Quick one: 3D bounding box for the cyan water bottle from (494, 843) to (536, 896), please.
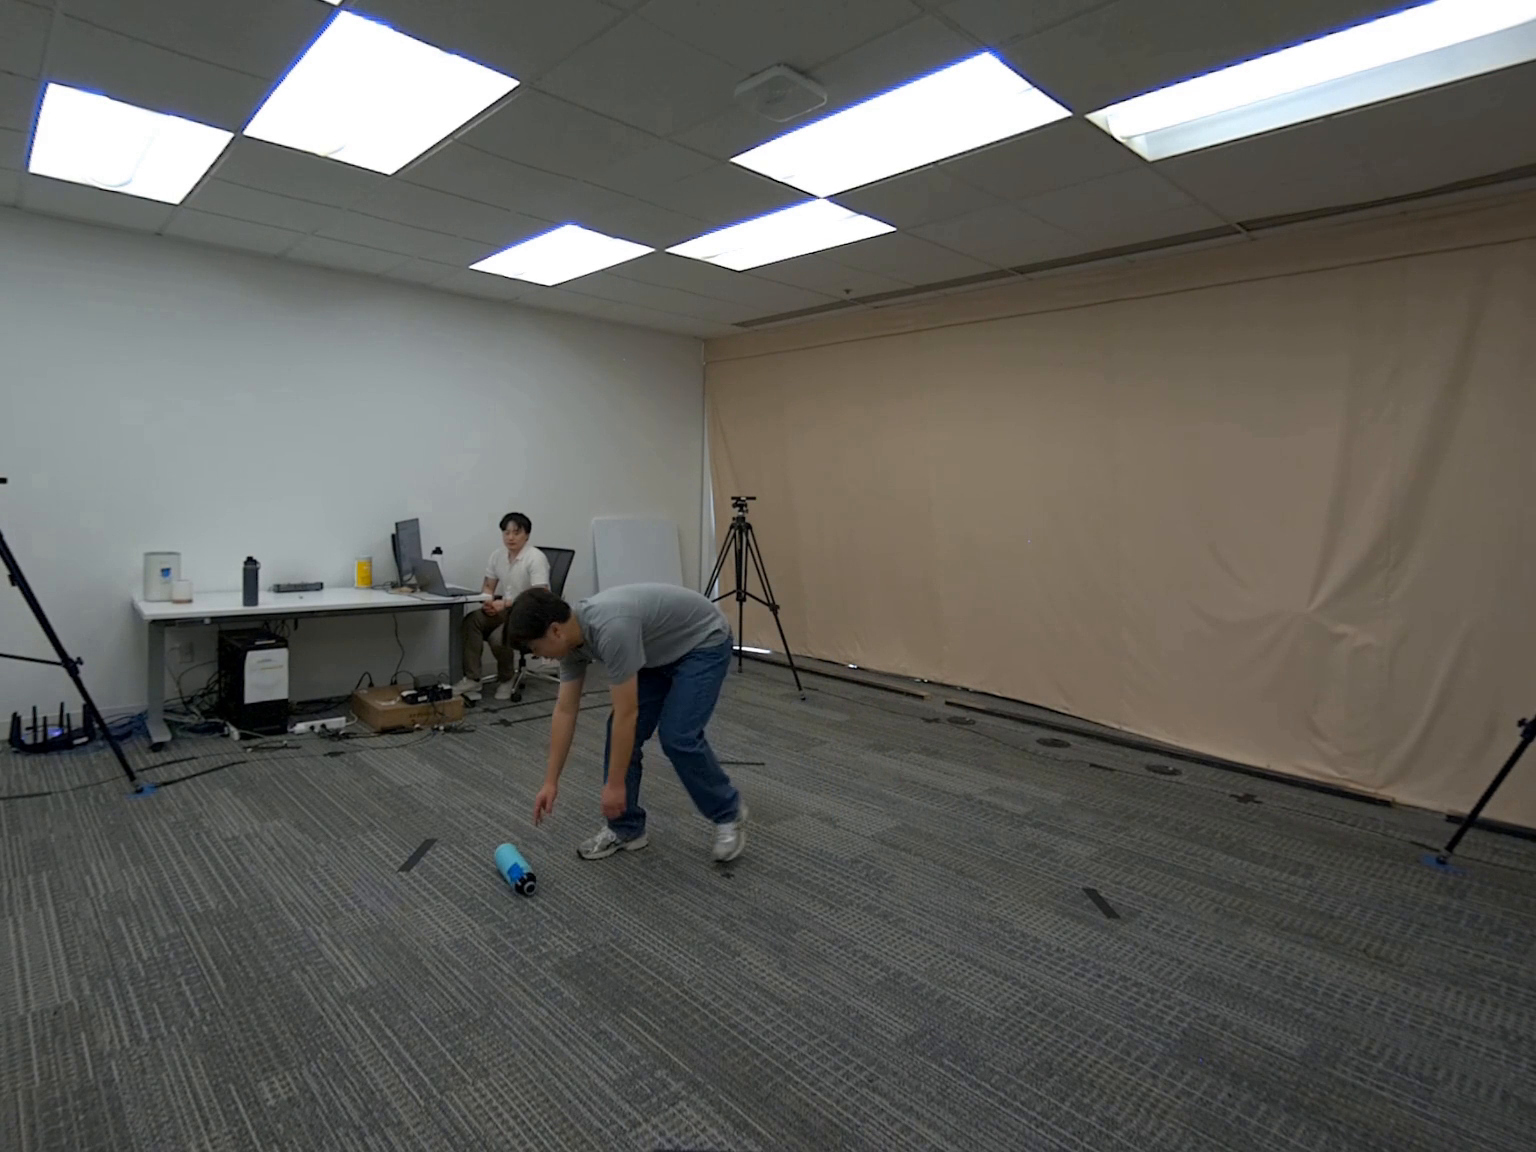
[{"bbox_3d":[-0.909,1.052,3.010,0.090,0.092,0.290,-1,7,-31],"label":"cyan water bottle"}]
